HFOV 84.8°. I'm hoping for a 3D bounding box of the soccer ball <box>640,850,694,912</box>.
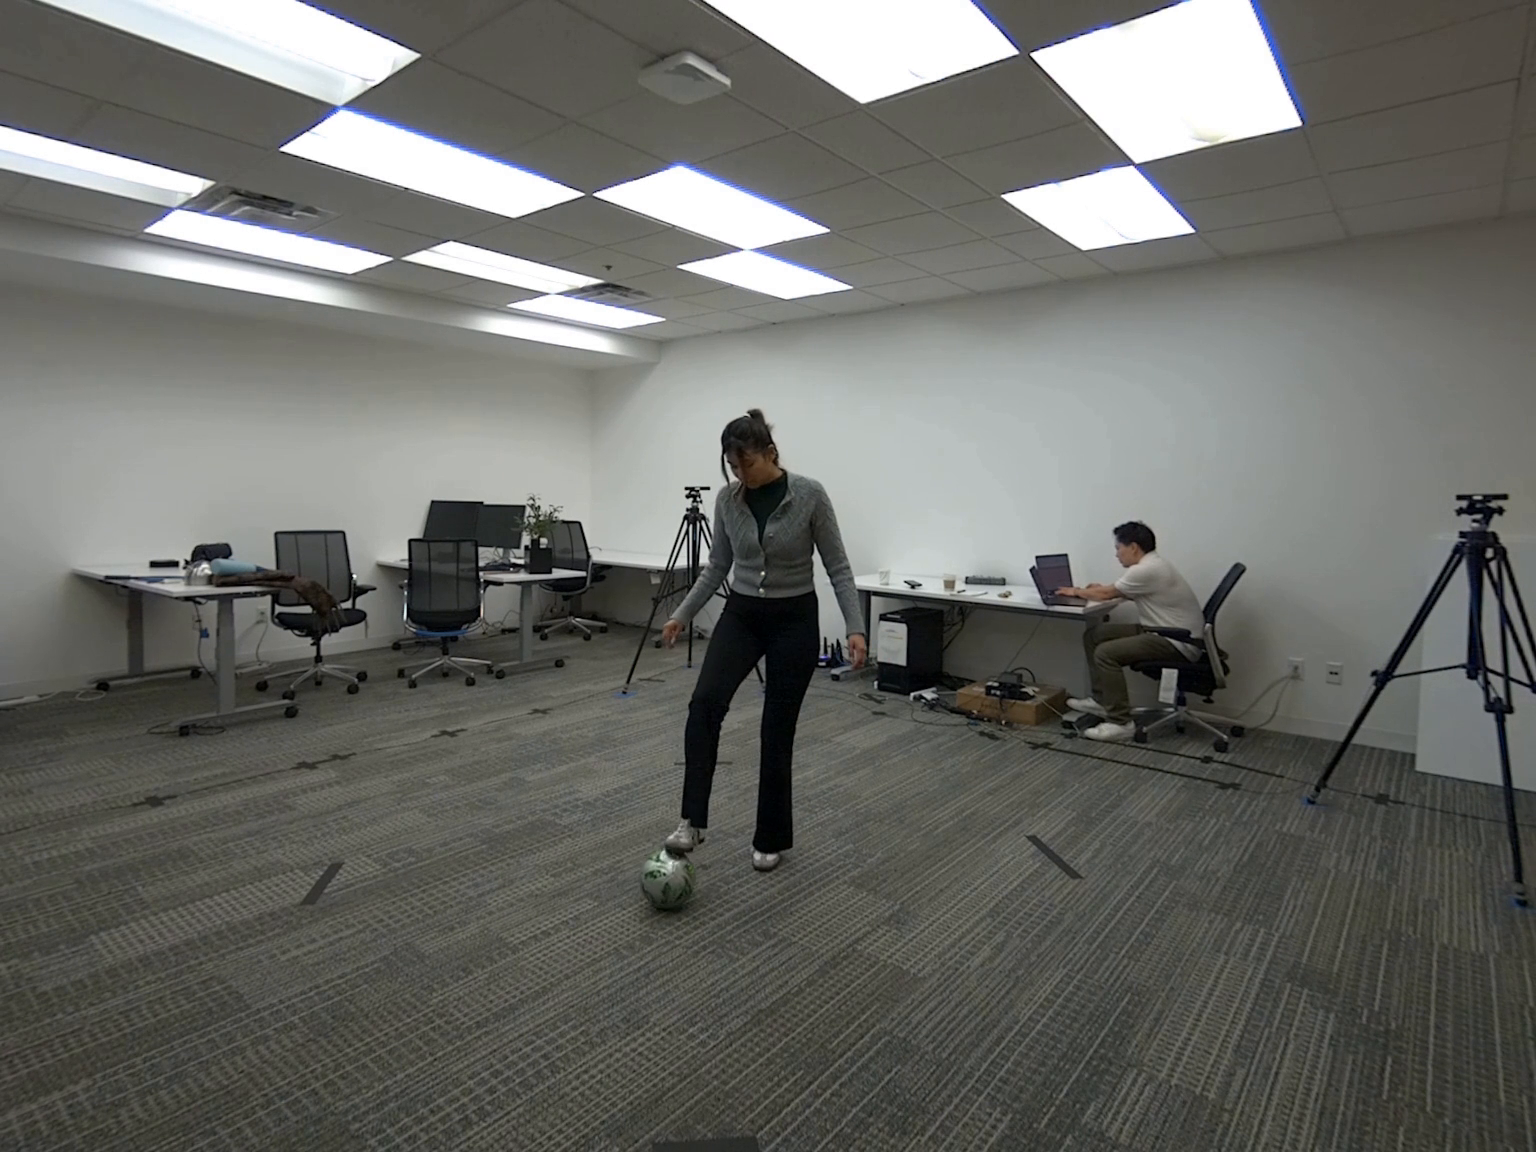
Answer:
[{"bbox_3d":[-0.331,0.999,2.823,0.187,0.187,0.188,1,4,-2],"label":"soccer ball"}]
